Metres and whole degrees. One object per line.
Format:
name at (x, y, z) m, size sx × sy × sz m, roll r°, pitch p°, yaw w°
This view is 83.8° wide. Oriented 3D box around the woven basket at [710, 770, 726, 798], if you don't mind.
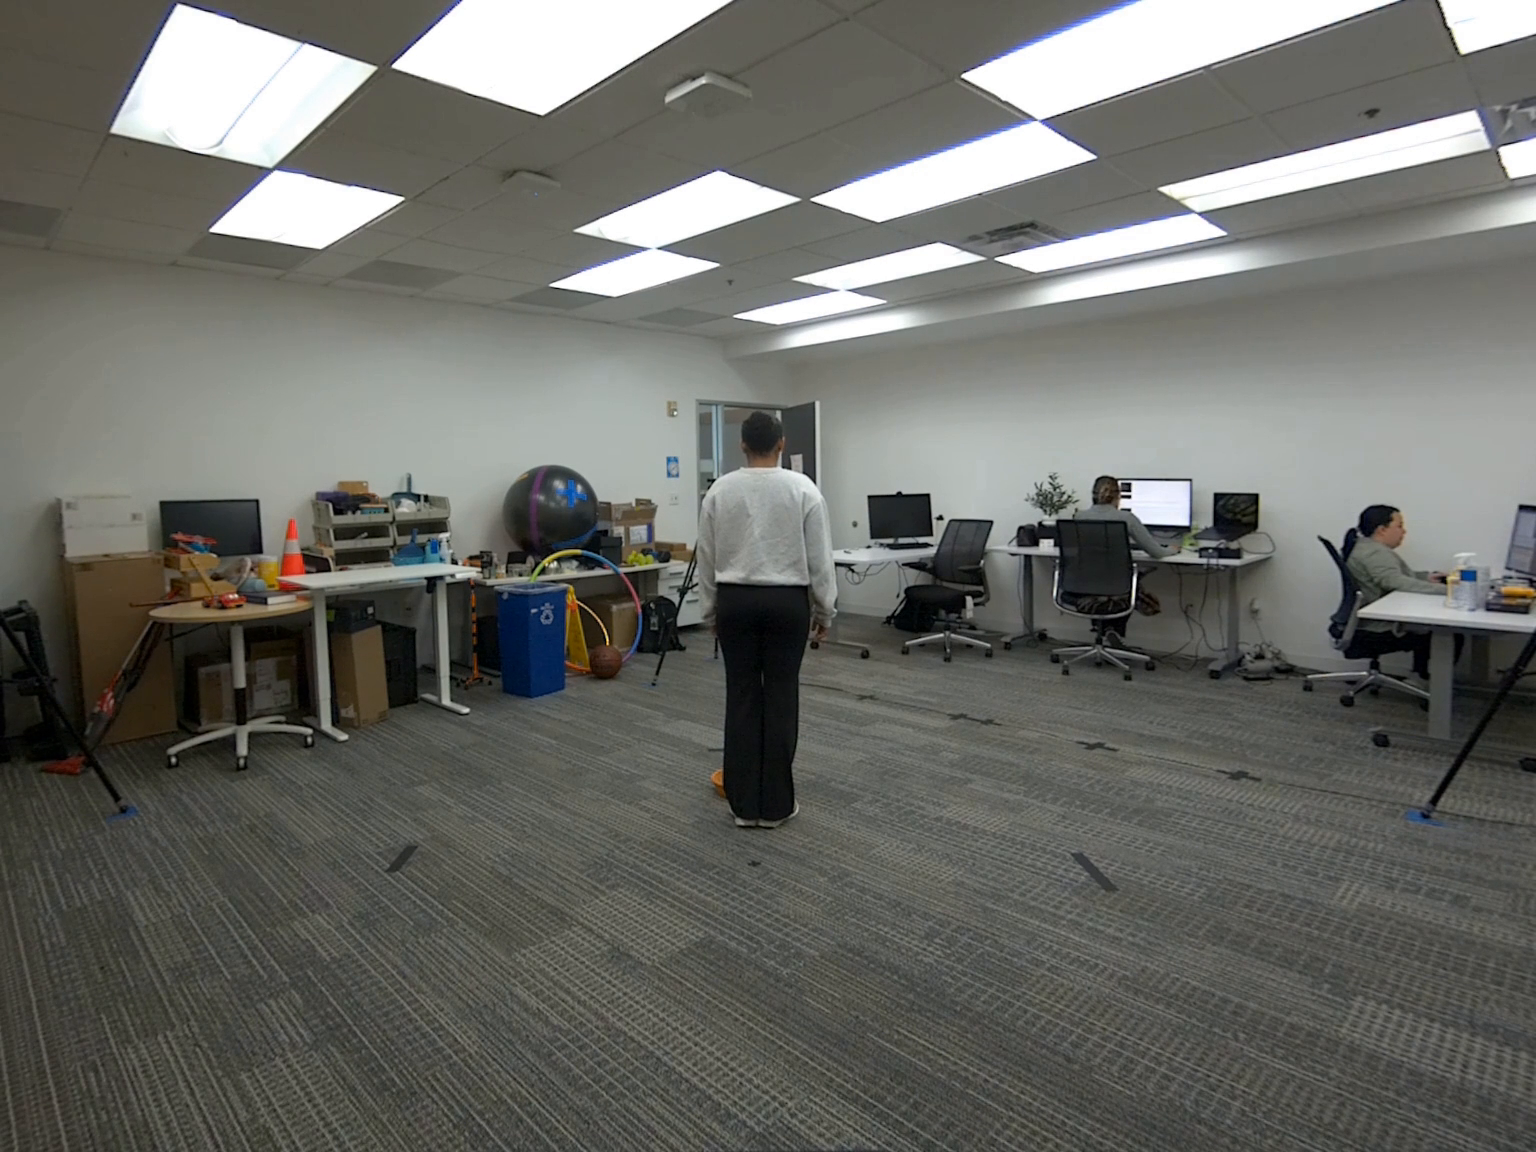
woven basket at (-0.077, 0.929, 3.811) m, size 0.356 × 0.073 × 0.249 m, roll 0°, pitch 6°, yaw 16°
